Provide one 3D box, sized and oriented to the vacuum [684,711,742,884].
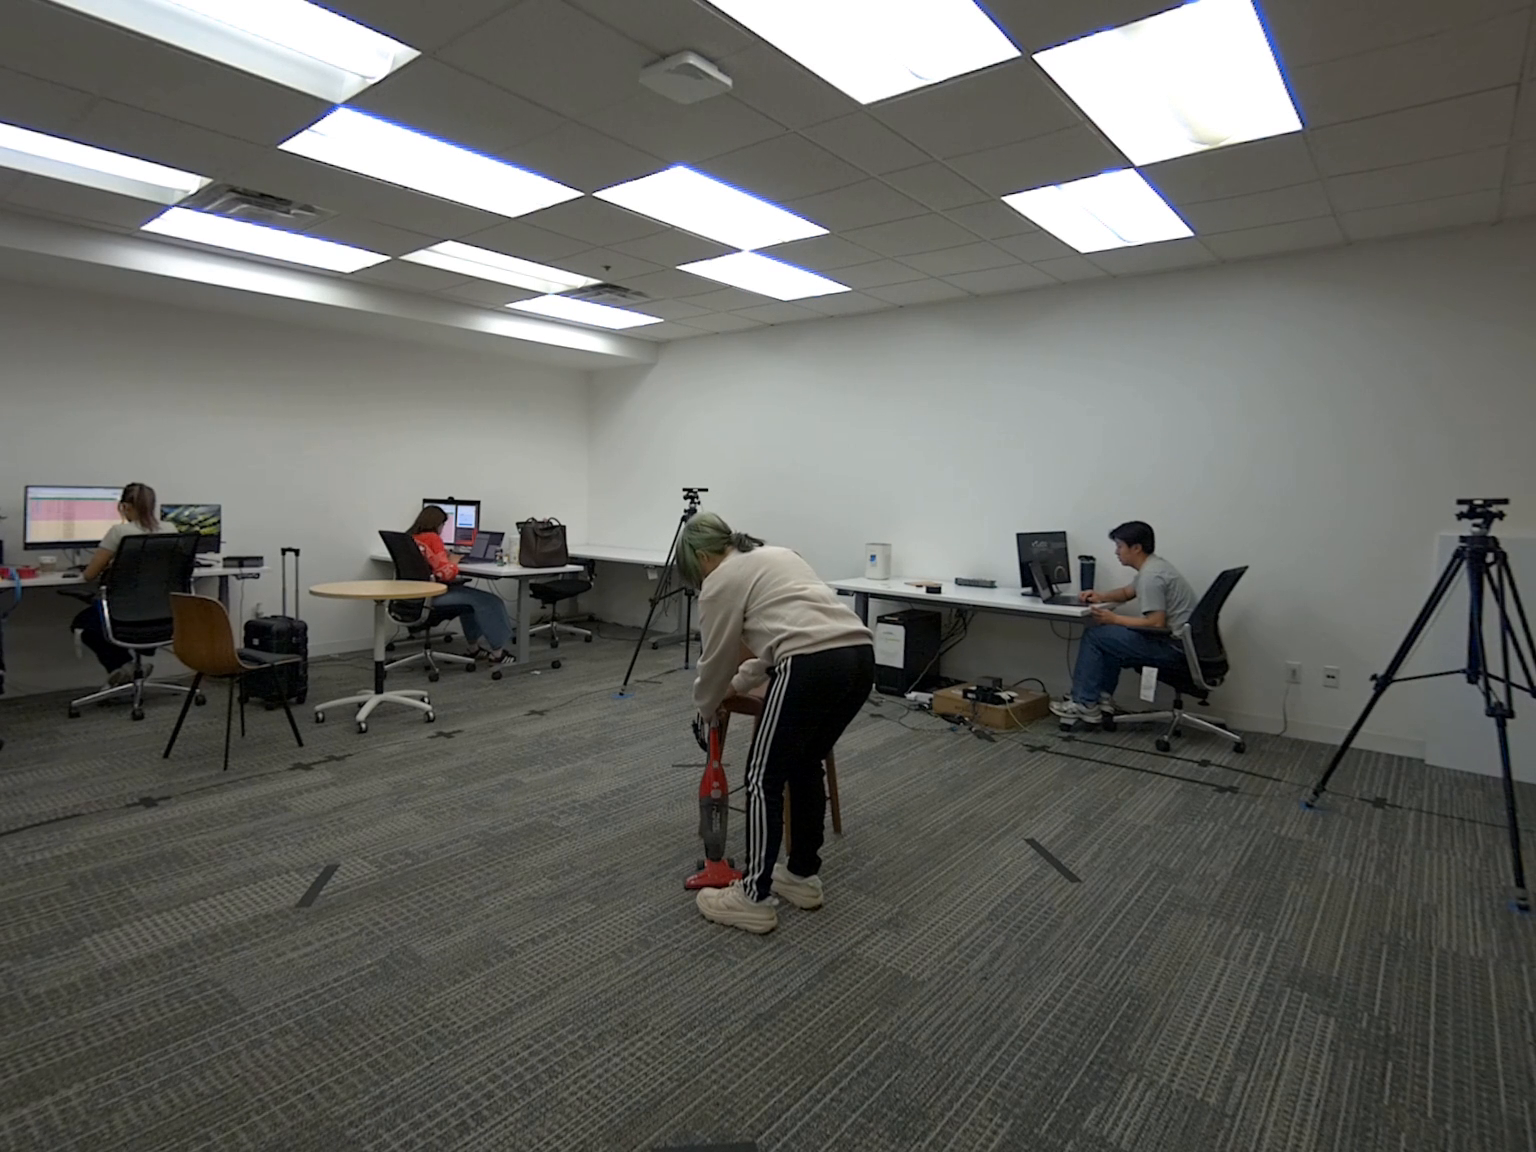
[{"bbox_3d":[-0.220,0.570,3.216,0.246,1.071,0.145,6,-23,-25],"label":"vacuum"}]
